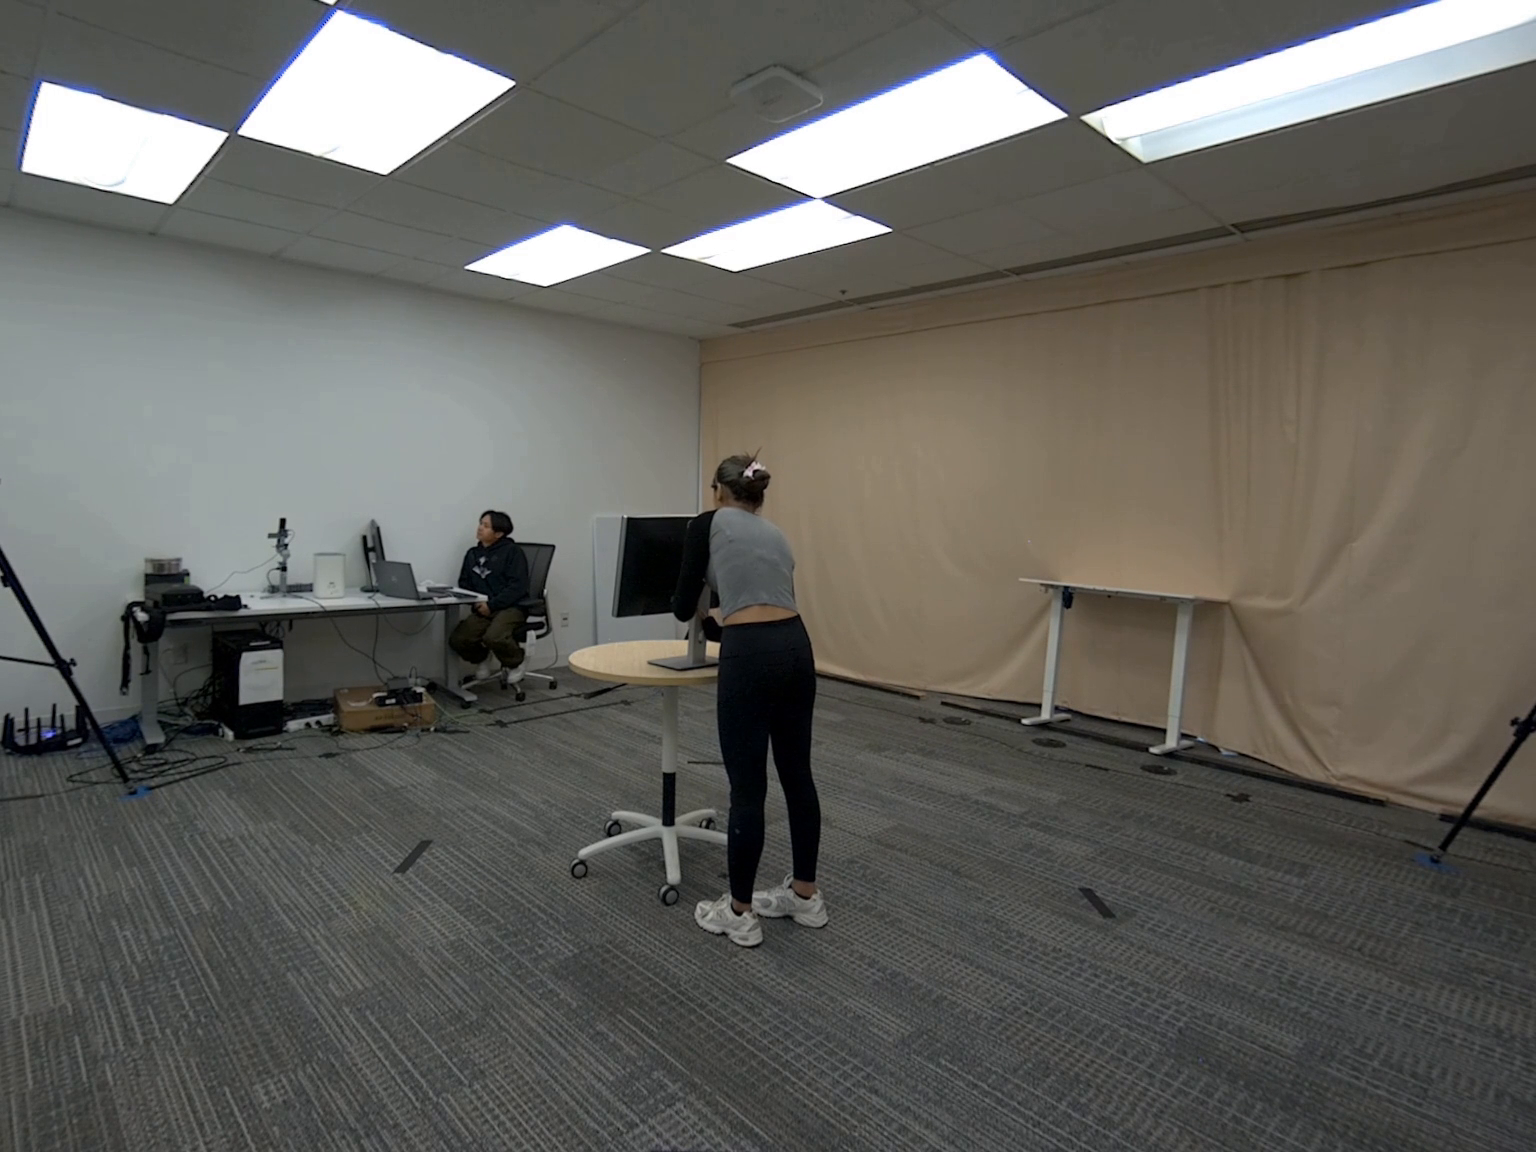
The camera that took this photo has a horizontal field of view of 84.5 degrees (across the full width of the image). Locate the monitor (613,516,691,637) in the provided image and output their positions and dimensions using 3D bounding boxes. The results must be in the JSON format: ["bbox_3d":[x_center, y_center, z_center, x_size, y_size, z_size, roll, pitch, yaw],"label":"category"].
[{"bbox_3d":[-0.288,0.055,3.043,0.527,0.522,0.192,-3,3,-44],"label":"monitor"}]
